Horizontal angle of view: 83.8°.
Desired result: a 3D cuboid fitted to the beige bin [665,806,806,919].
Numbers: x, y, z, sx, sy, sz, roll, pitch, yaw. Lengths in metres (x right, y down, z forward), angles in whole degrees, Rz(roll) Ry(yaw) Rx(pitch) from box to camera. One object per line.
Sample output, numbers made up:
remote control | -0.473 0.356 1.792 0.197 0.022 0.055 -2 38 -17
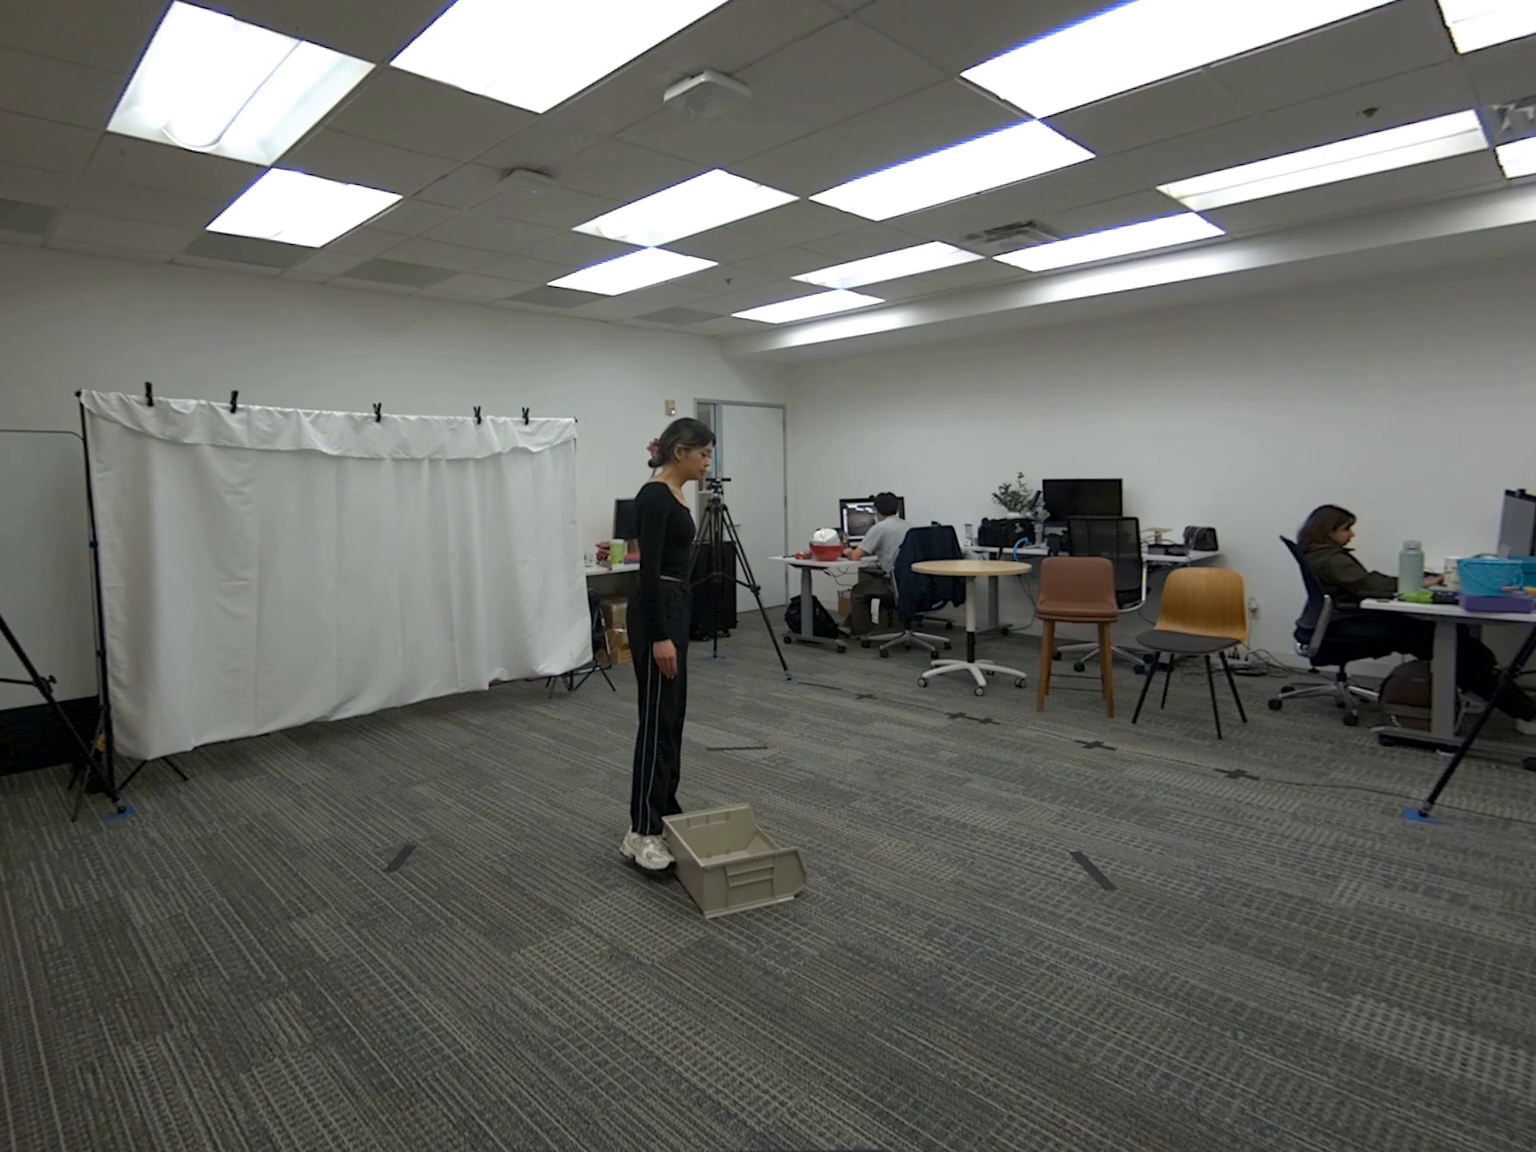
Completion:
beige bin | -0.123 0.972 2.961 0.370 0.188 0.433 -5 8 -24
